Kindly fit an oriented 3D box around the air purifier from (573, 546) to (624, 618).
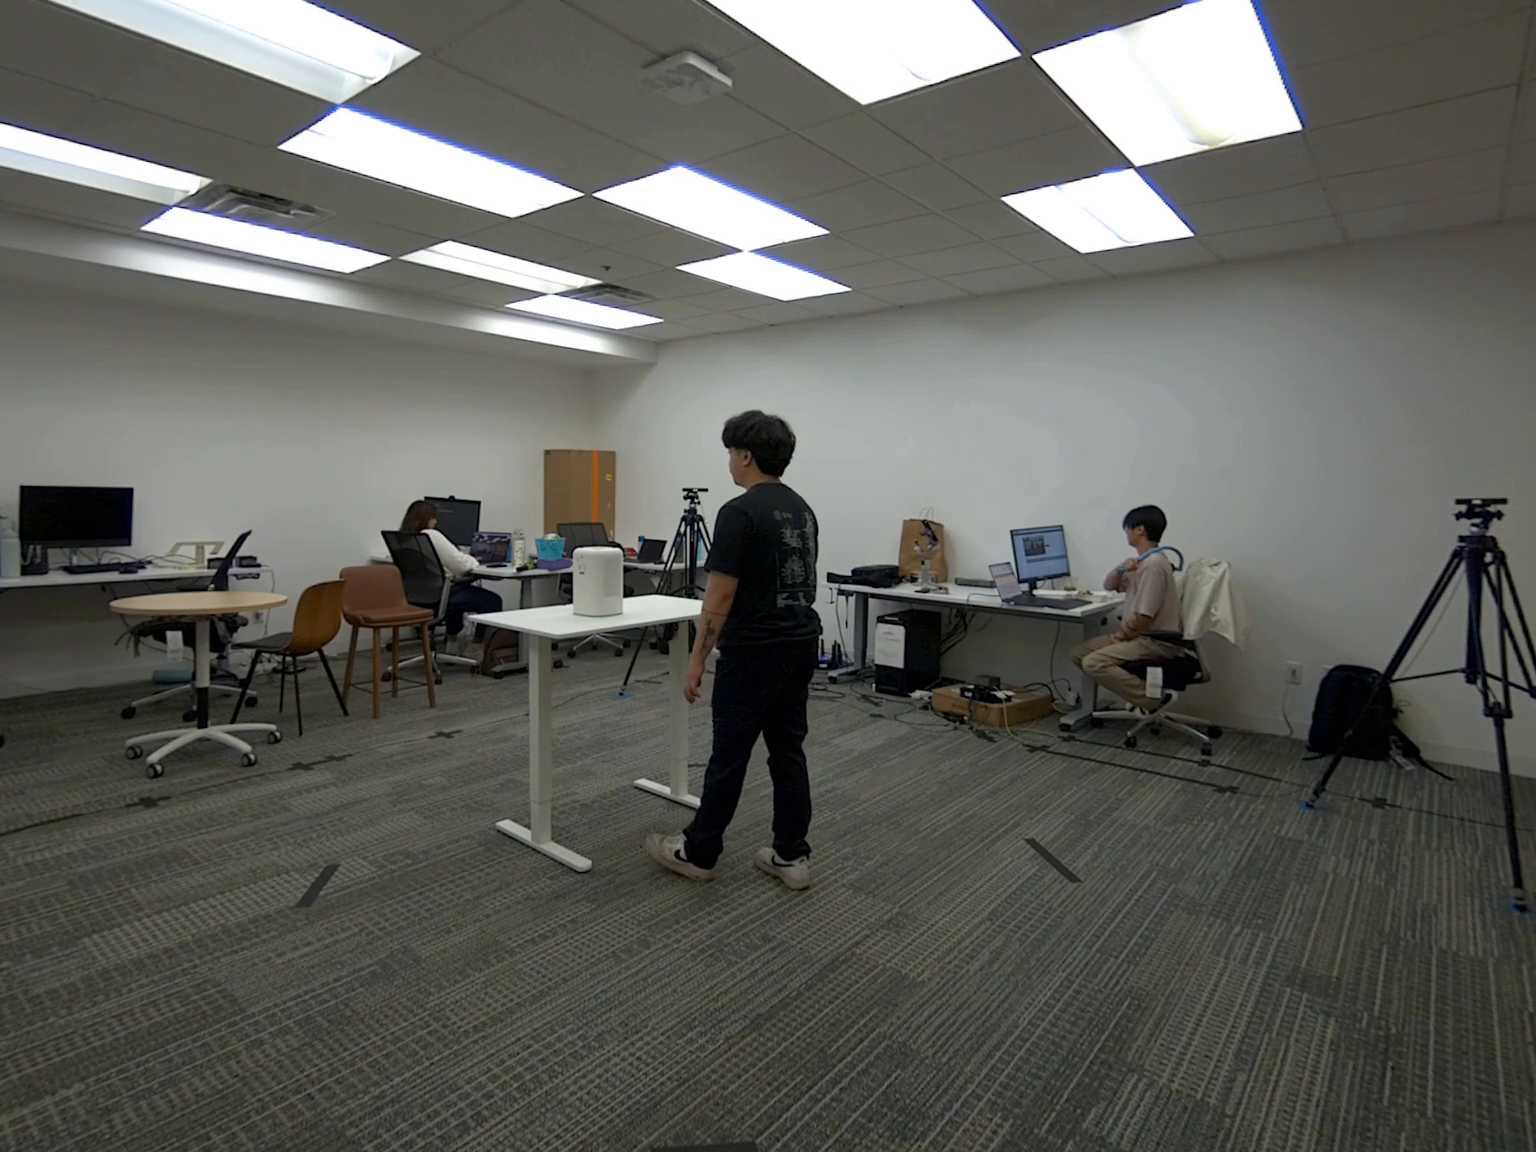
[{"bbox_3d":[-0.696,0.016,3.421,0.176,0.265,0.166,2,3,37],"label":"air purifier"}]
